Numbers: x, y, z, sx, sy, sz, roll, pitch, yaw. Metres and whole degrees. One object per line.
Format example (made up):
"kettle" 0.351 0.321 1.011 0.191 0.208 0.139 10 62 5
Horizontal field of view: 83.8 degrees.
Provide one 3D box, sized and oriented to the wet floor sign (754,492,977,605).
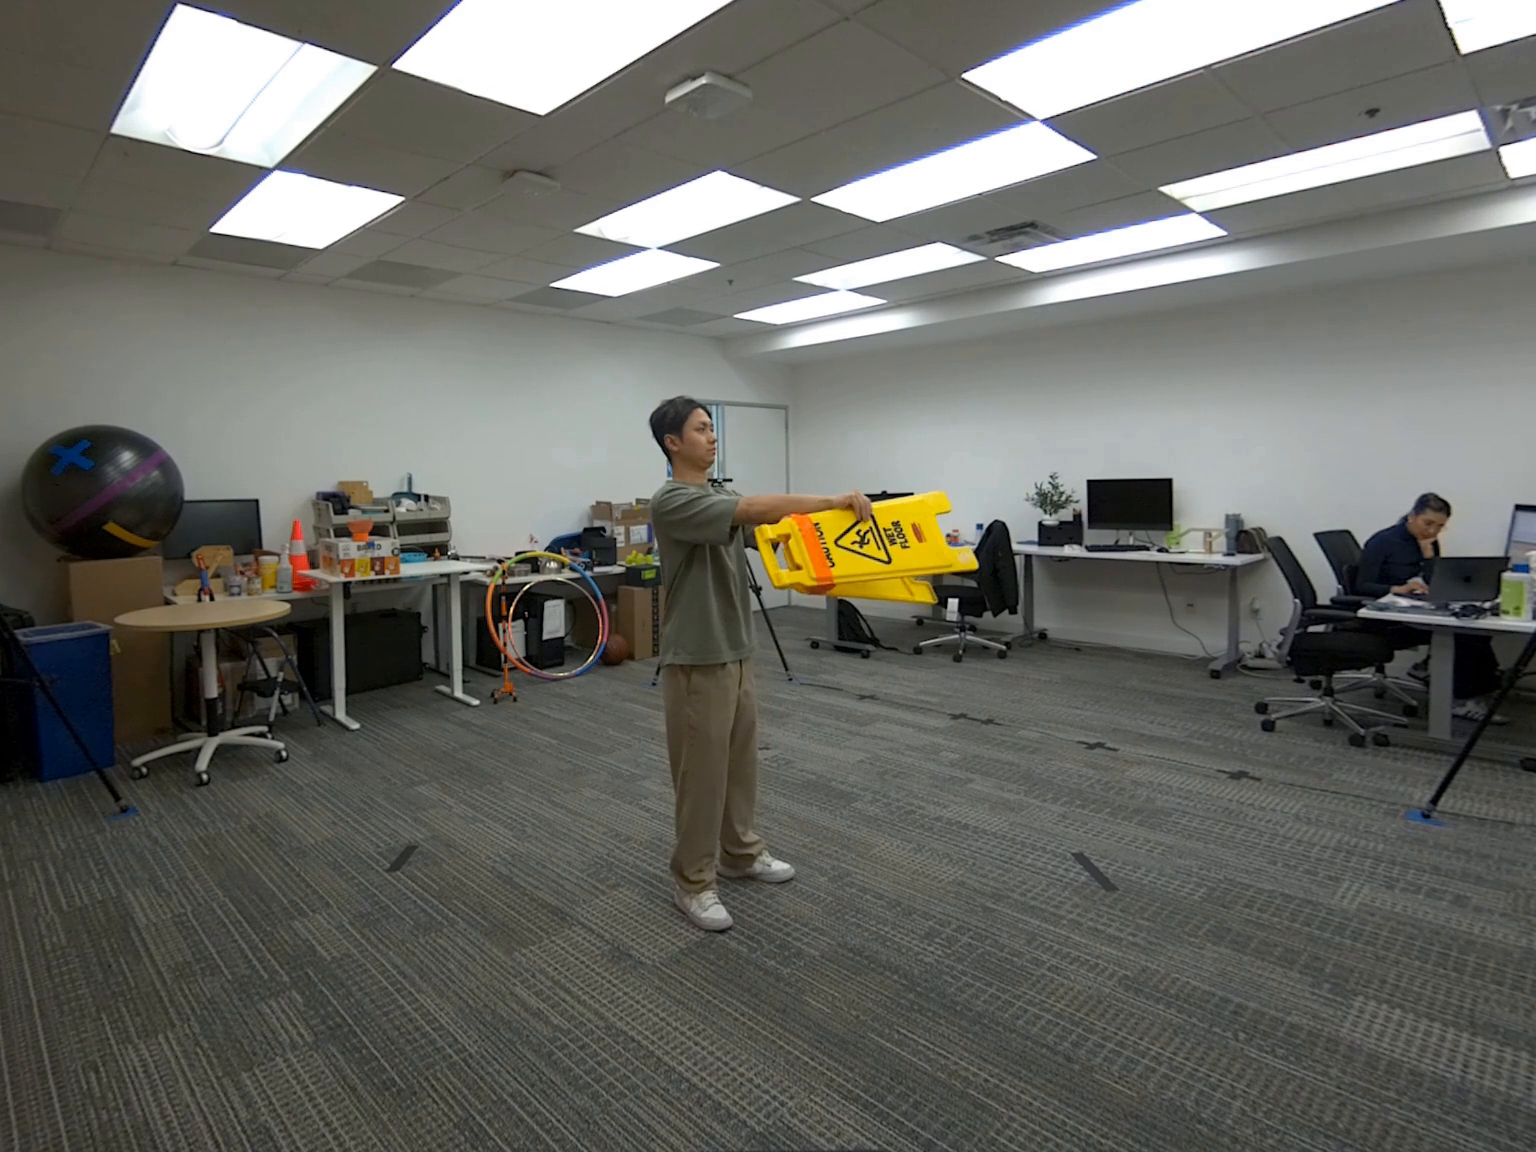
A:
"wet floor sign" 0.267 -0.067 2.546 0.631 0.290 0.288 -4 -29 -29
